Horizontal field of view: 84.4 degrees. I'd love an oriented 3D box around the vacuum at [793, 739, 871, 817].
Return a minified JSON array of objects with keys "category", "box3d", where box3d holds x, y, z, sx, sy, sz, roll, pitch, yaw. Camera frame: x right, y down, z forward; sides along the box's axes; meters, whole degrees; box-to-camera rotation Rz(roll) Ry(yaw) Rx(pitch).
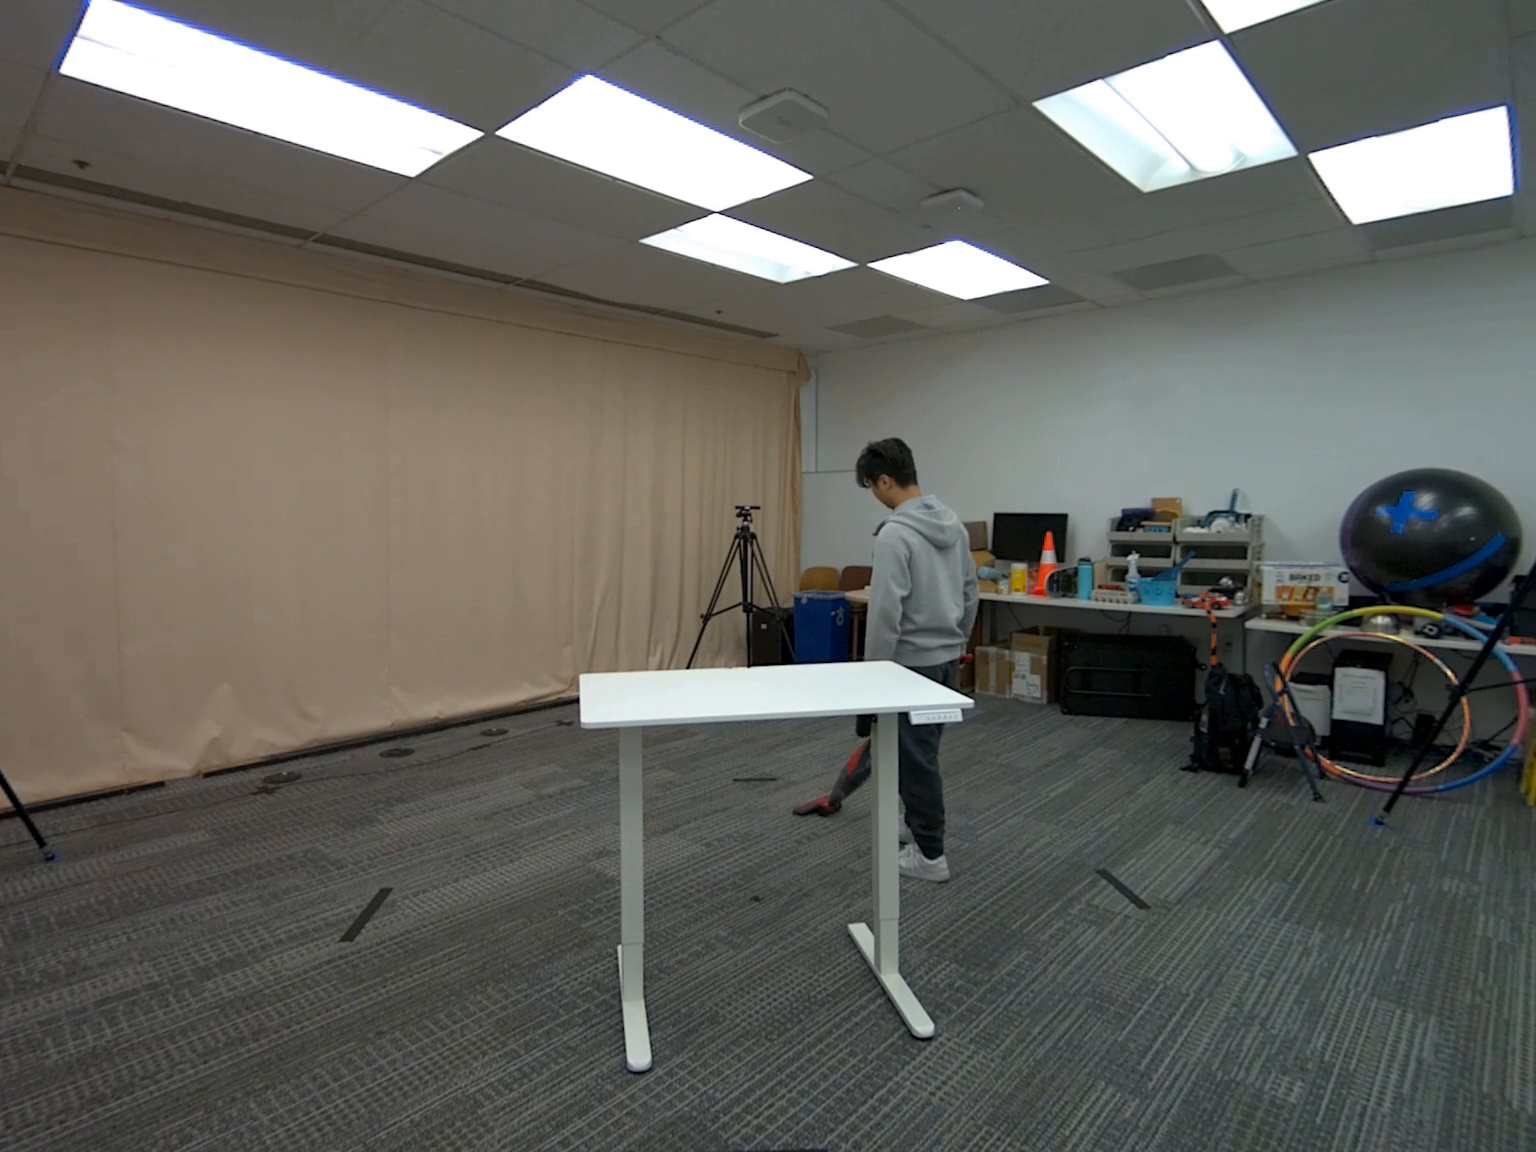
[{"category":"vacuum","box3d":[0.505,0.692,3.621,0.245,1.052,0.148,-5,49,-53]}]
